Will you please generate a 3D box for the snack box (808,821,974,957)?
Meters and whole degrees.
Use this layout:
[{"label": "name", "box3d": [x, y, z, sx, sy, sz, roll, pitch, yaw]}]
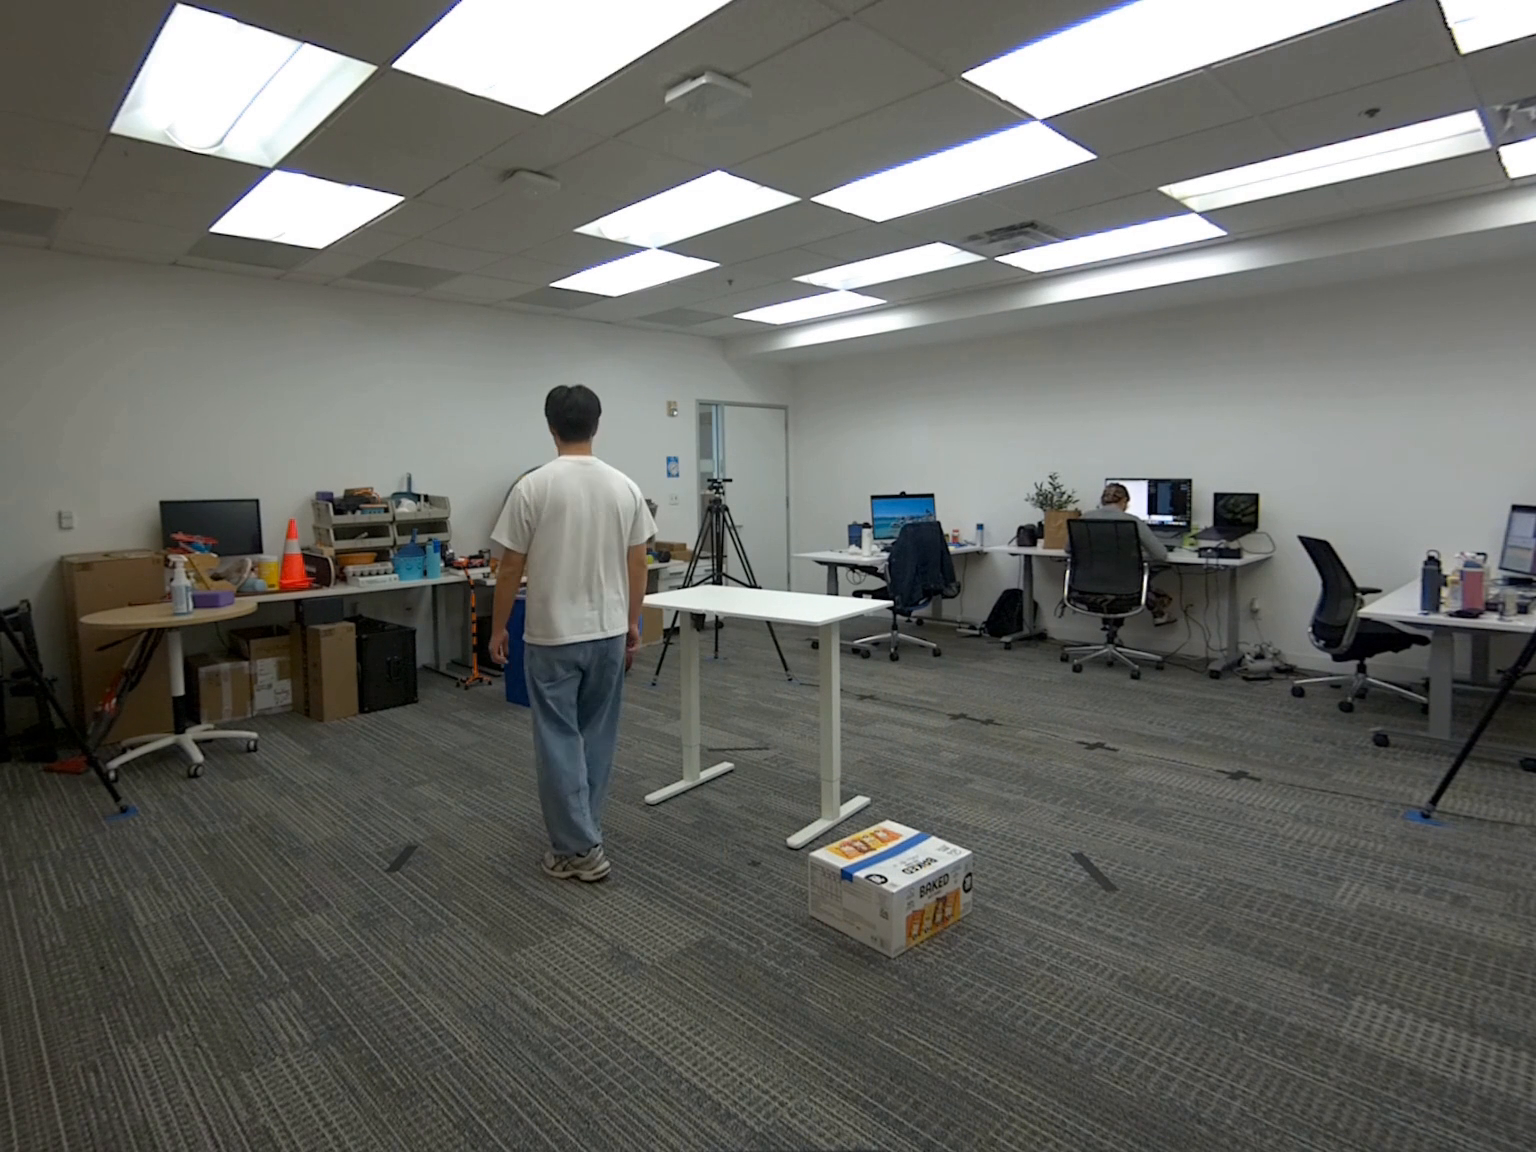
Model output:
[{"label": "snack box", "box3d": [0.394, 0.981, 2.717, 0.394, 0.205, 0.351, -6, 8, -41]}]
